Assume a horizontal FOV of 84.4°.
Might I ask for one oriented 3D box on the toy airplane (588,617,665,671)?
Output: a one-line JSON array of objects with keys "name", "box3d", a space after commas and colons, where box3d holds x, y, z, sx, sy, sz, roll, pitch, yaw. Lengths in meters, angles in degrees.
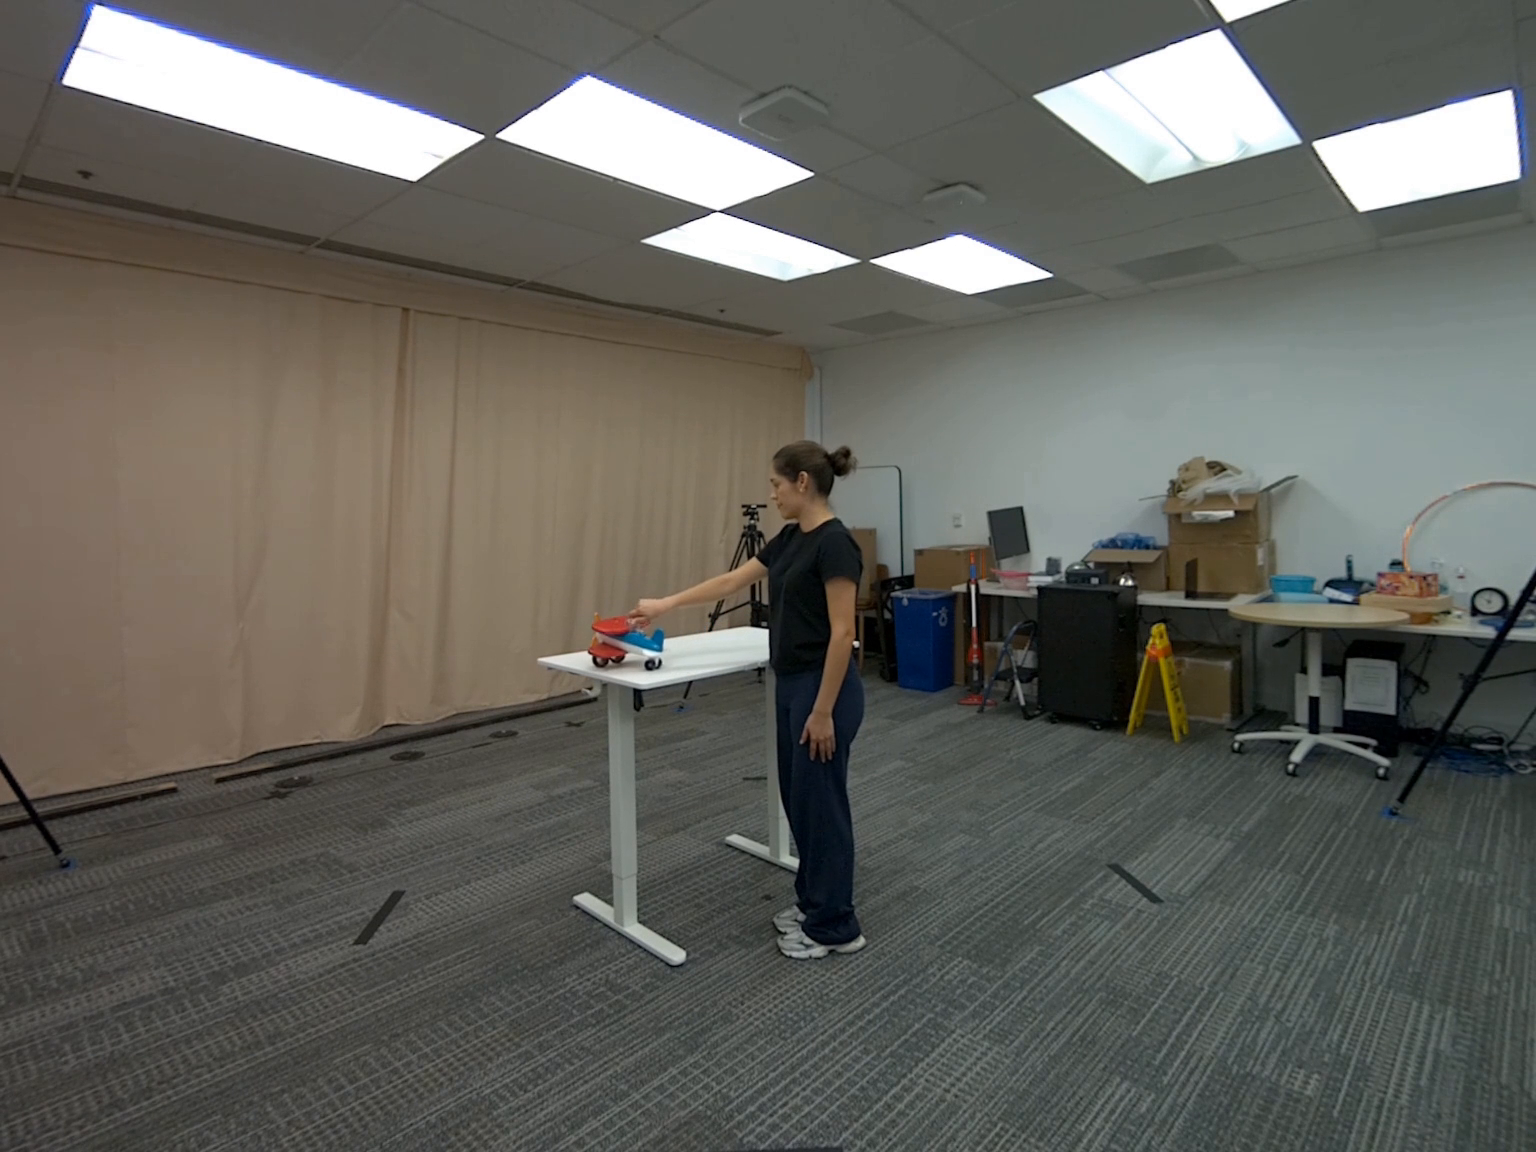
[{"name": "toy airplane", "box3d": [-0.414, 0.214, 2.704, 0.259, 0.156, 0.251, -3, 4, 0]}]
